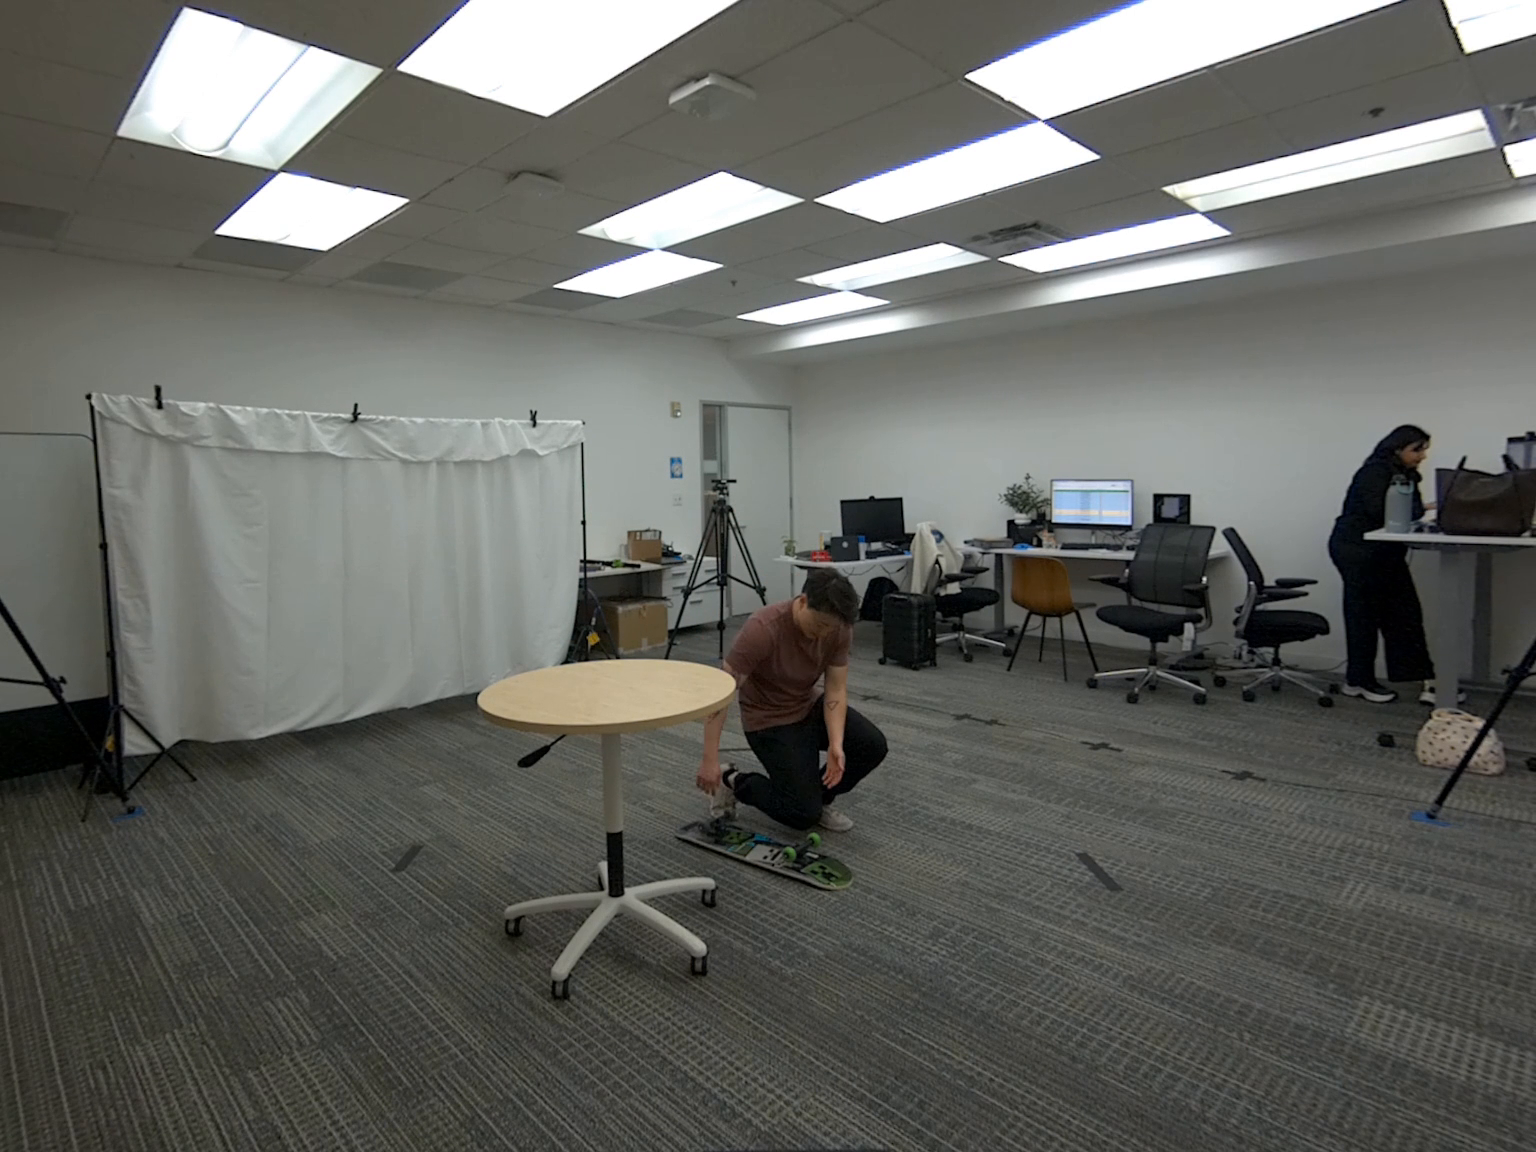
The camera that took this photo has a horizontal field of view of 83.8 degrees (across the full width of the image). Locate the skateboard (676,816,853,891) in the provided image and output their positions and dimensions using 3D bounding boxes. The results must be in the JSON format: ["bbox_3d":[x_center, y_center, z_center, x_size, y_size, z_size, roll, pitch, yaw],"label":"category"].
[{"bbox_3d":[-0.038,0.990,3.177,0.809,0.110,0.188,4,8,39],"label":"skateboard"}]
